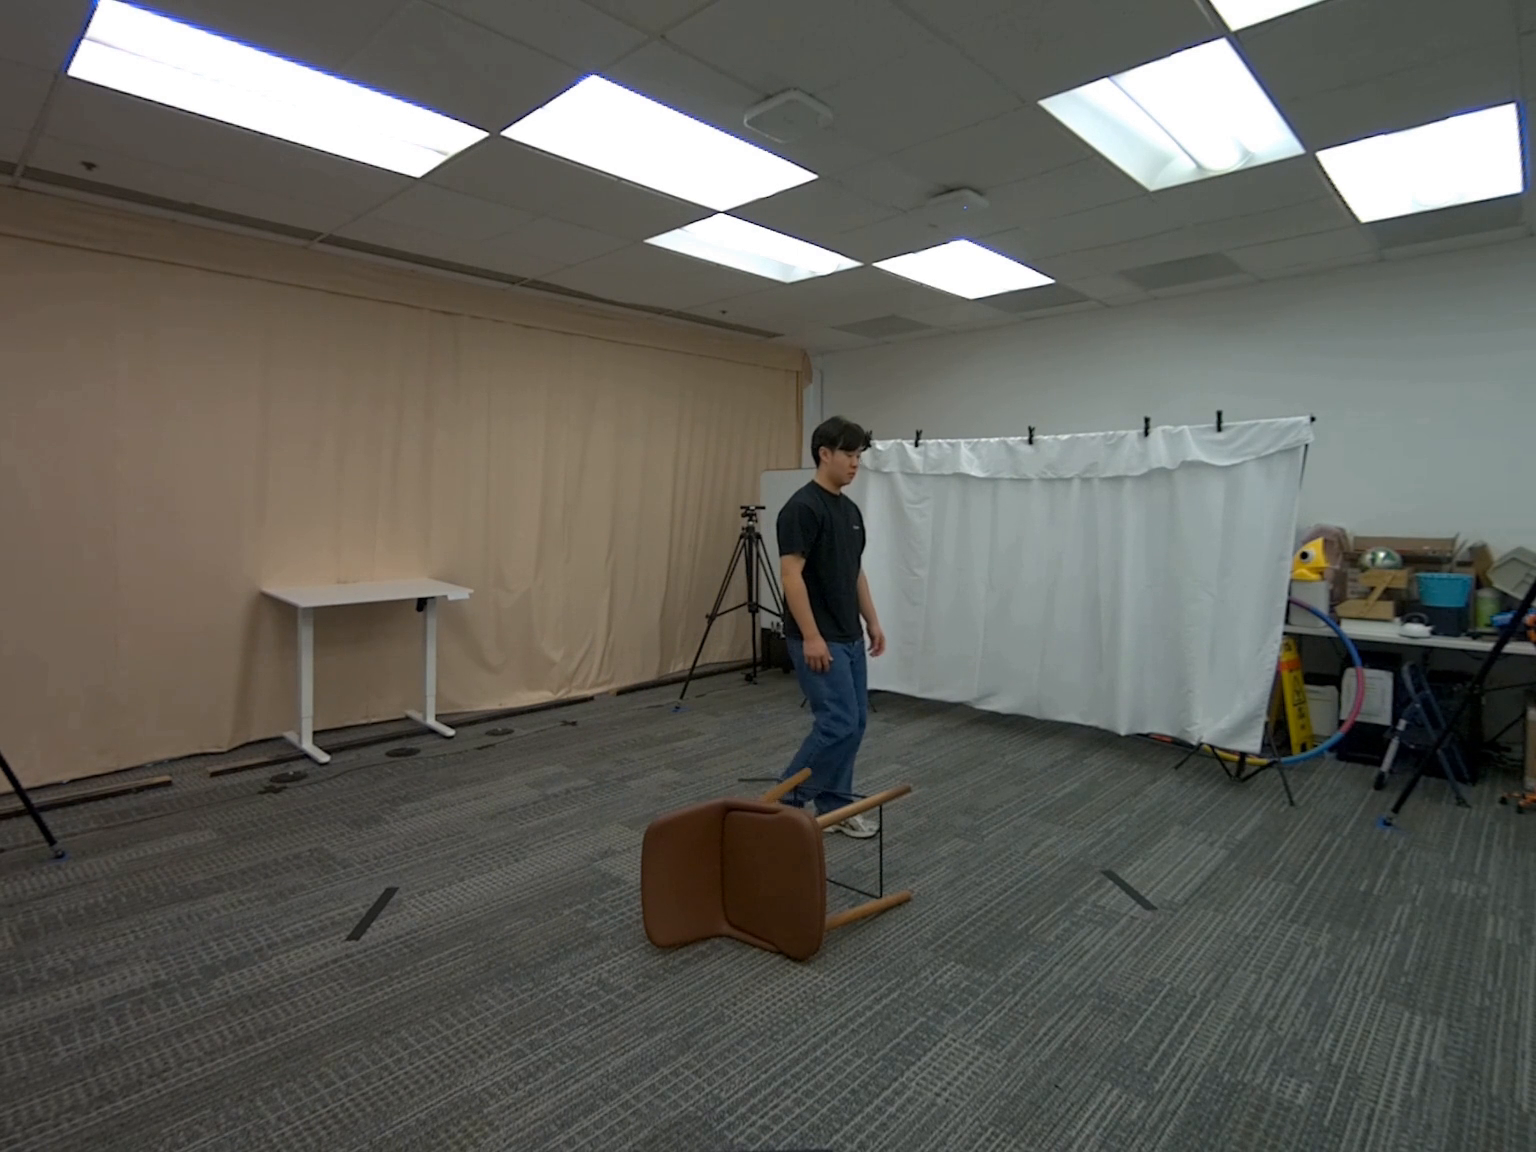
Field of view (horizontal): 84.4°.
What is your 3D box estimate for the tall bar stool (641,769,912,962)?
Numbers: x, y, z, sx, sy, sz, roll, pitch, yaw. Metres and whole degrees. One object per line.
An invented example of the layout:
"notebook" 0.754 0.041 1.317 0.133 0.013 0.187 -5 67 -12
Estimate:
"tall bar stool" 0.067 0.946 2.786 0.483 0.456 0.862 1 1 40
